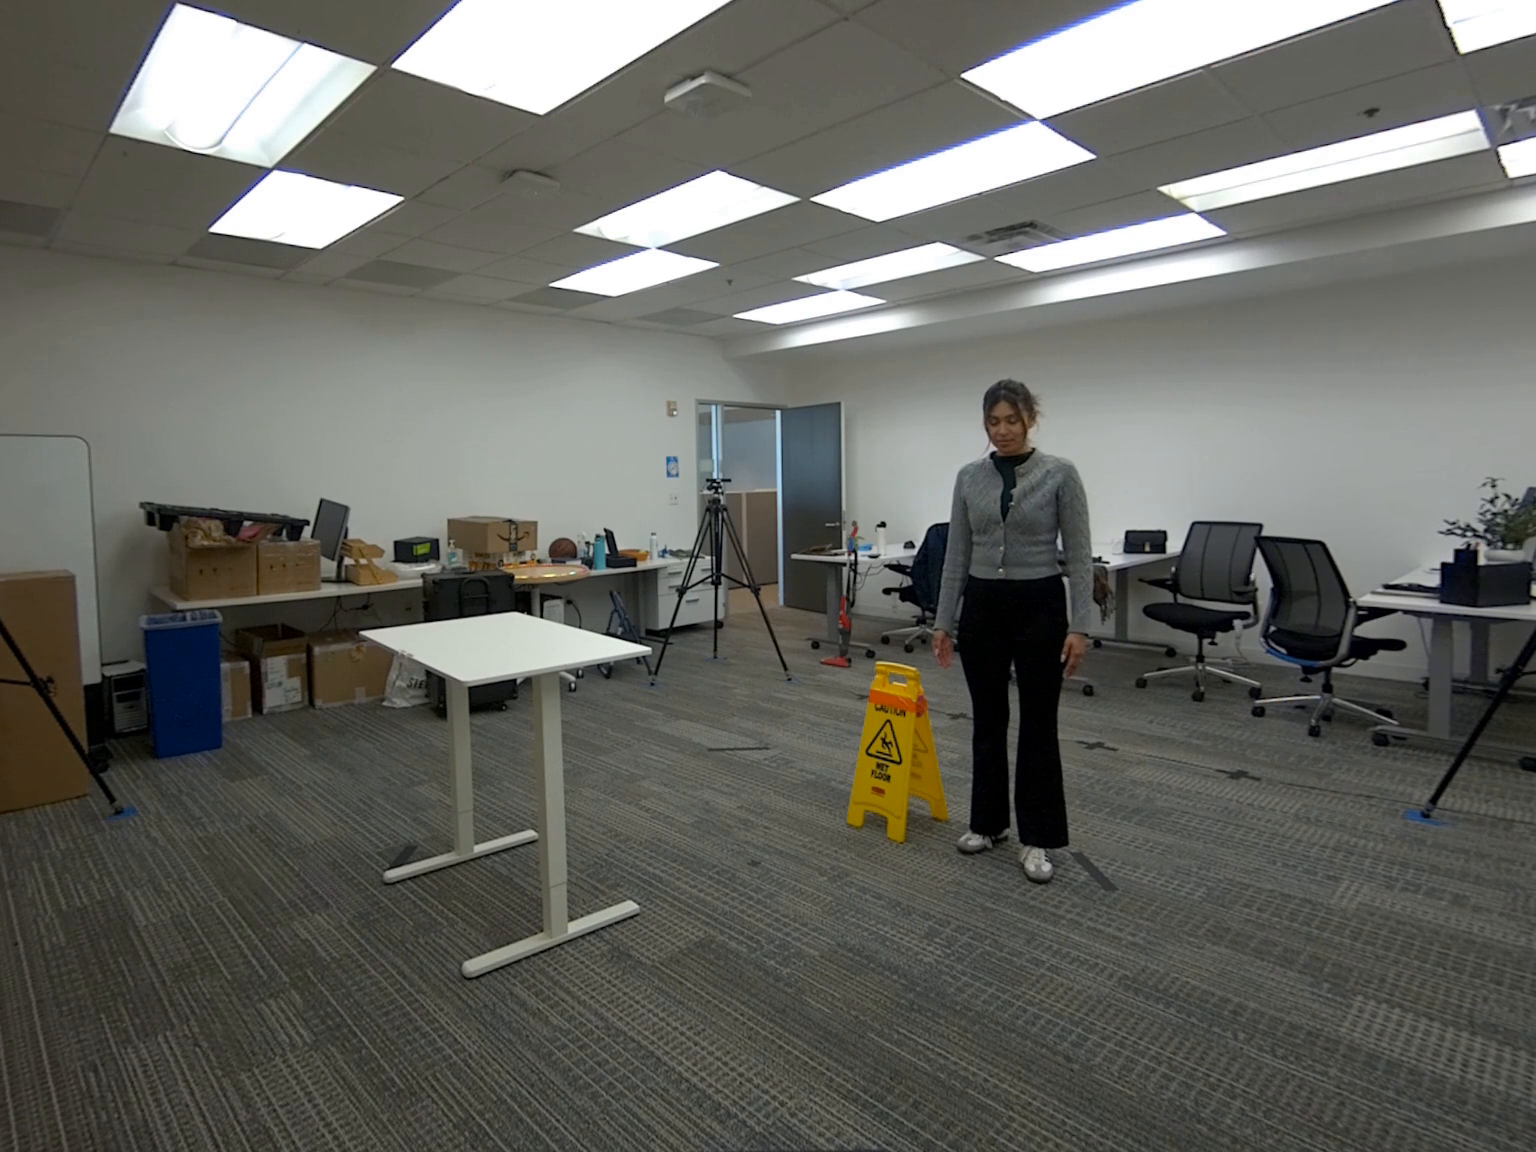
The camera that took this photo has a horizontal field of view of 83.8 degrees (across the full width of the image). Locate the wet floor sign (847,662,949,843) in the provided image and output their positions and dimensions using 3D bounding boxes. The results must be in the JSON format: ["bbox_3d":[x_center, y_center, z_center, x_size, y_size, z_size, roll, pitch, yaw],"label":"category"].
[{"bbox_3d":[0.521,0.679,3.440,0.282,0.644,0.291,-5,5,-44],"label":"wet floor sign"}]
